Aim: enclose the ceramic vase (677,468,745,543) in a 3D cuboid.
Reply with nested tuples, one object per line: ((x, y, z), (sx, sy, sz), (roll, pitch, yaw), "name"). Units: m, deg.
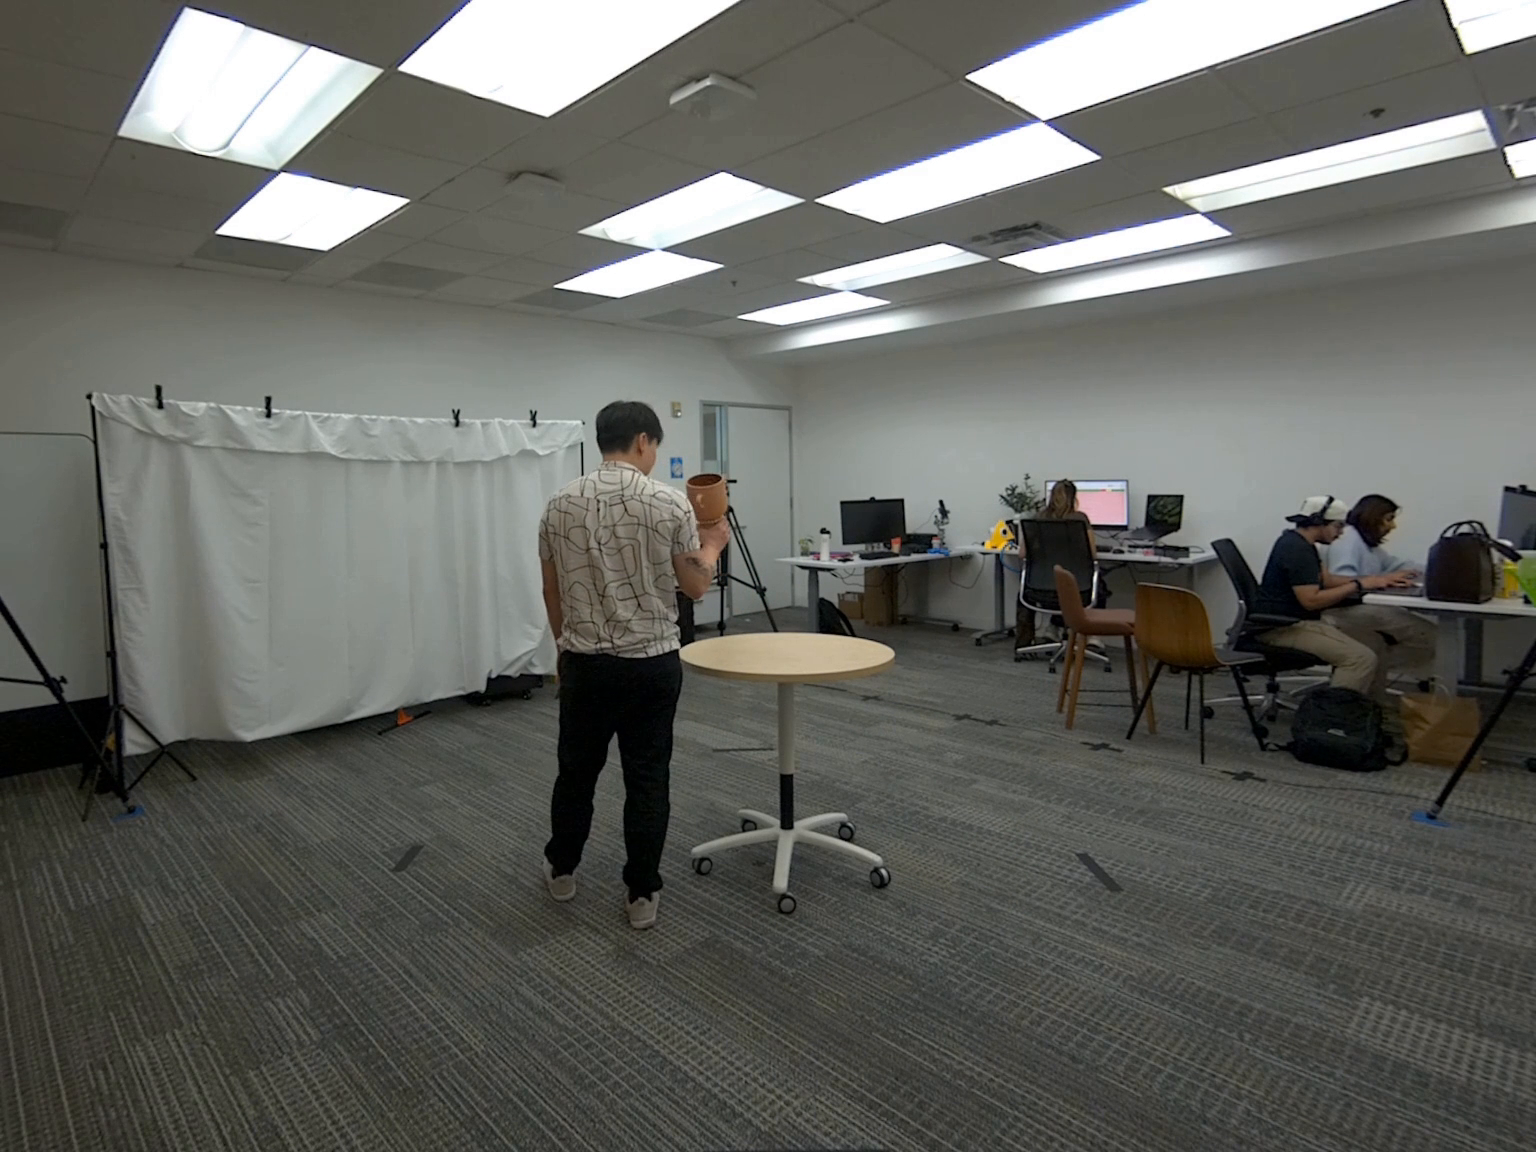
((-0.194, -0.229, 2.918), (0.156, 0.215, 0.140), (-22, 30, -30), "ceramic vase")
